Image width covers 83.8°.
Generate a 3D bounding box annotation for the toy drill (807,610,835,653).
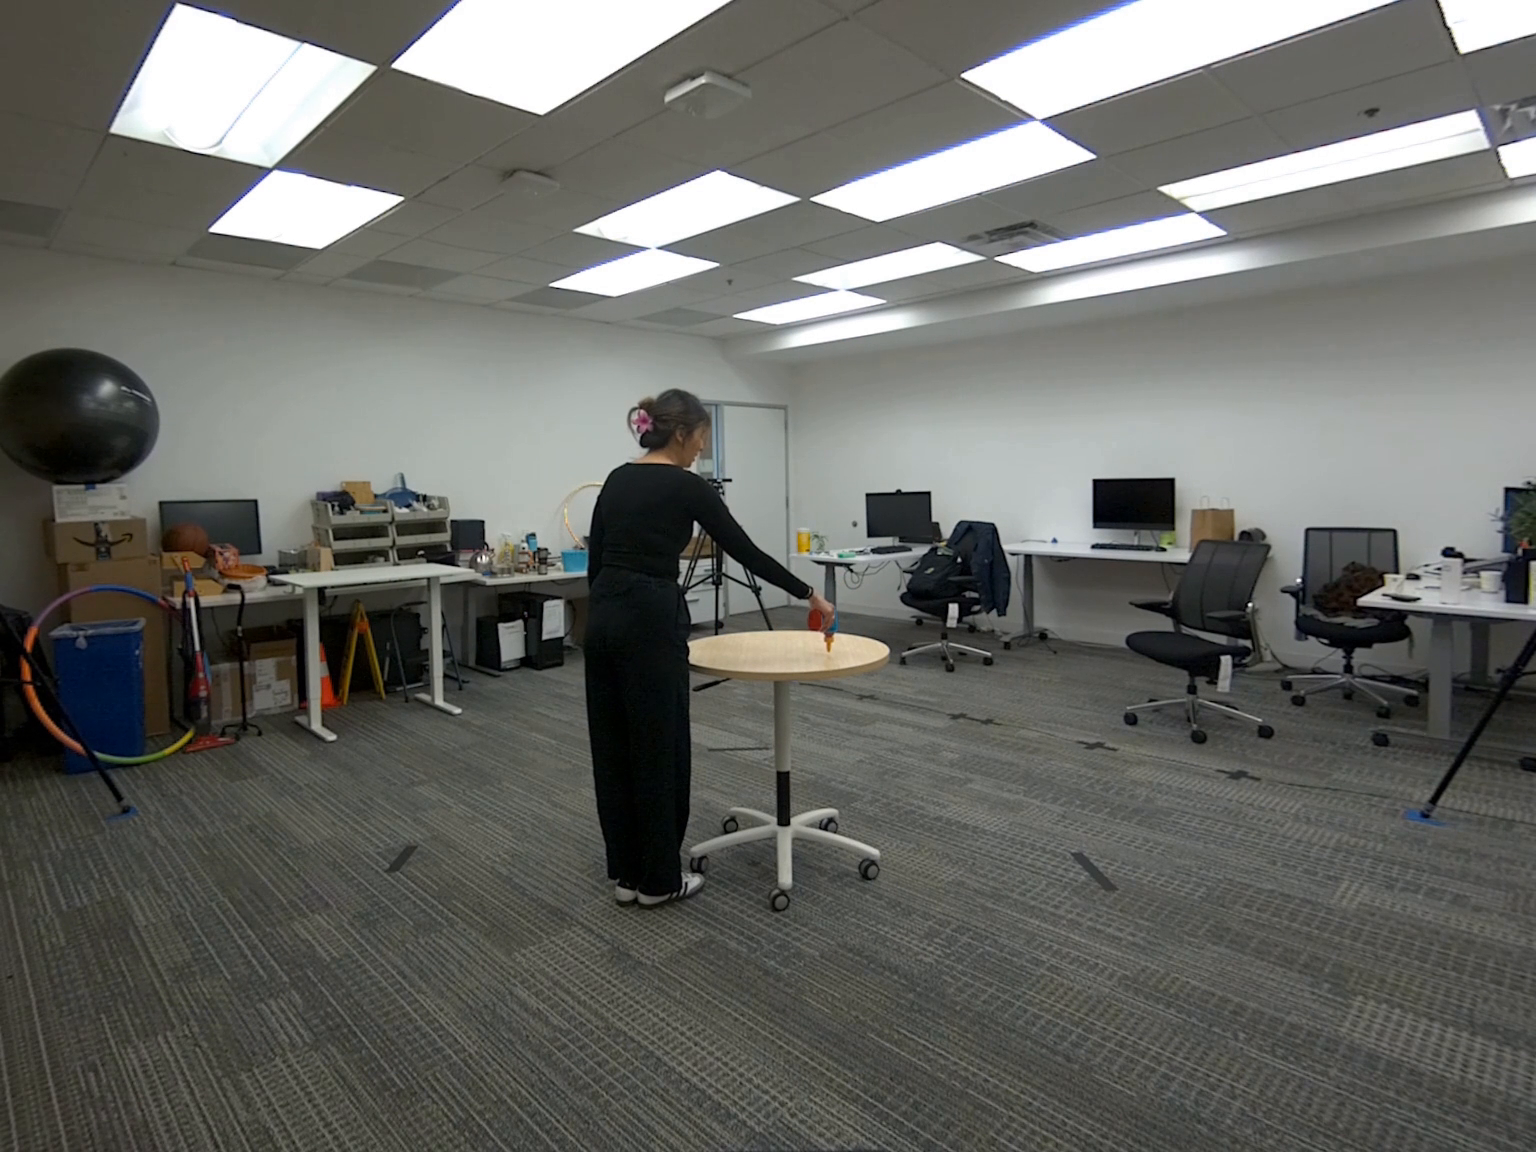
[{"bbox_3d":[0.196,0.183,2.916,0.063,0.169,0.142,9,5,28],"label":"toy drill"}]
